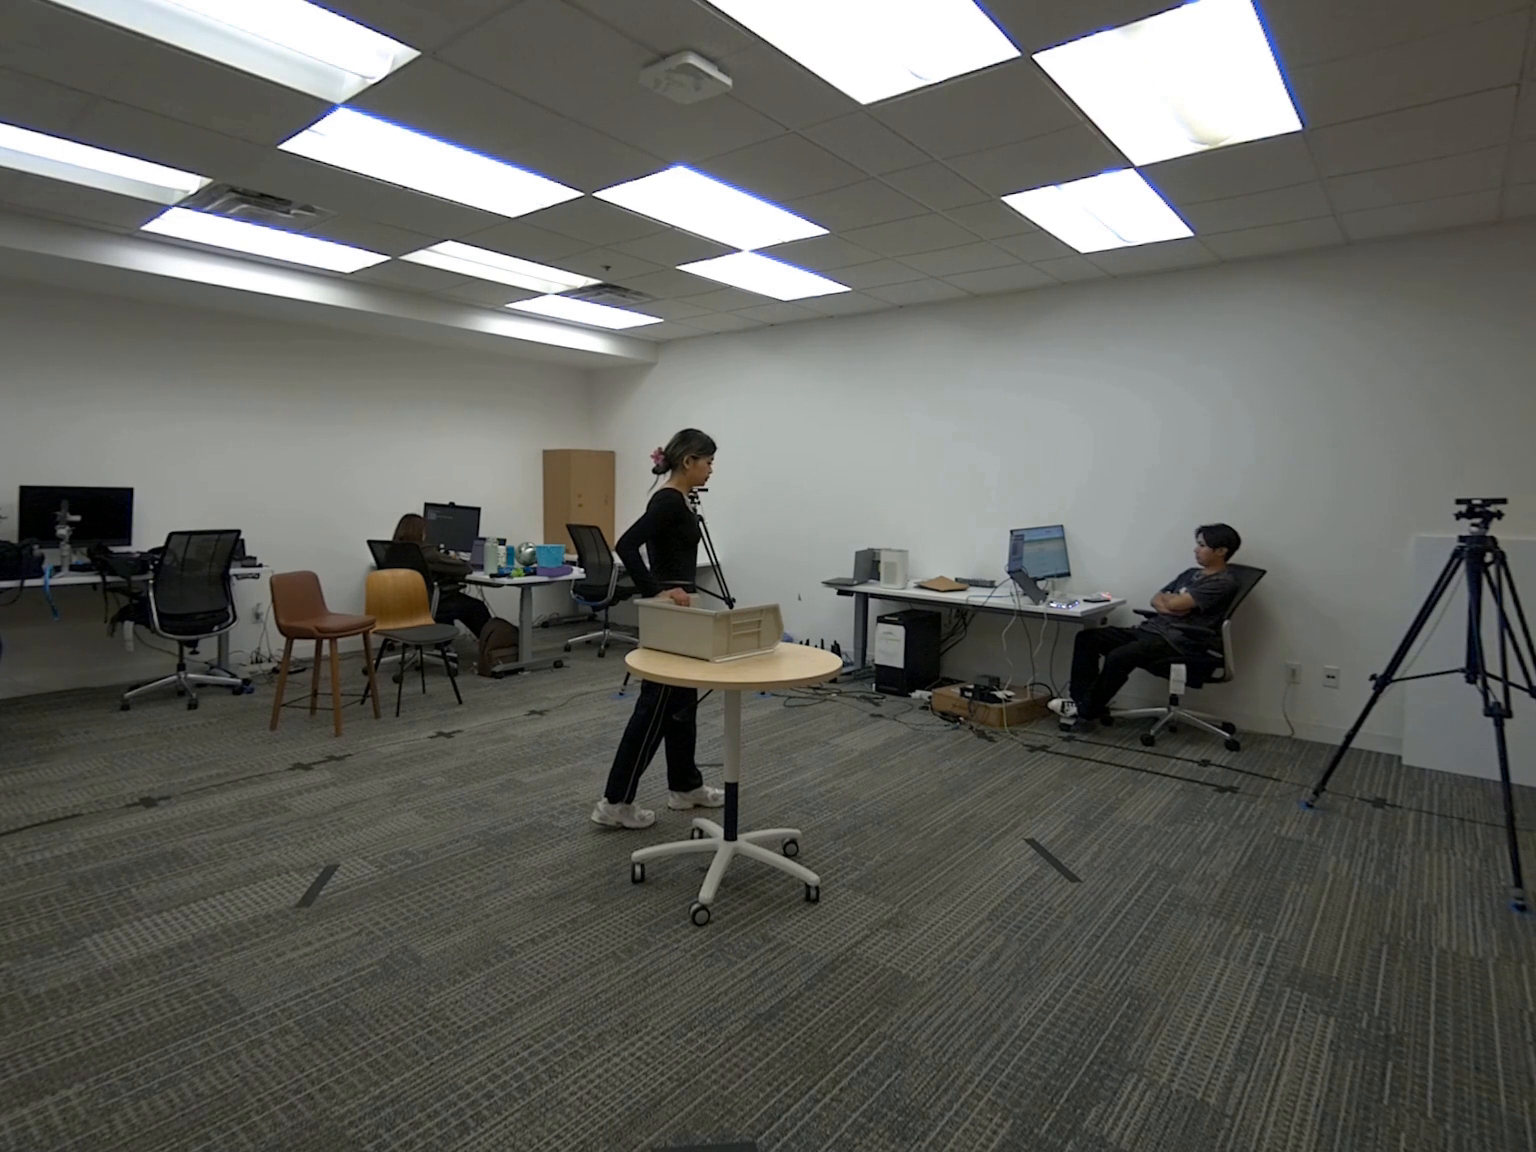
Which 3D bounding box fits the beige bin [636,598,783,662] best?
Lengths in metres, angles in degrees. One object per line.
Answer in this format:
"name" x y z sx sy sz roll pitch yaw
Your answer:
"beige bin" -0.232 0.179 3.171 0.437 0.188 0.366 7 9 41
